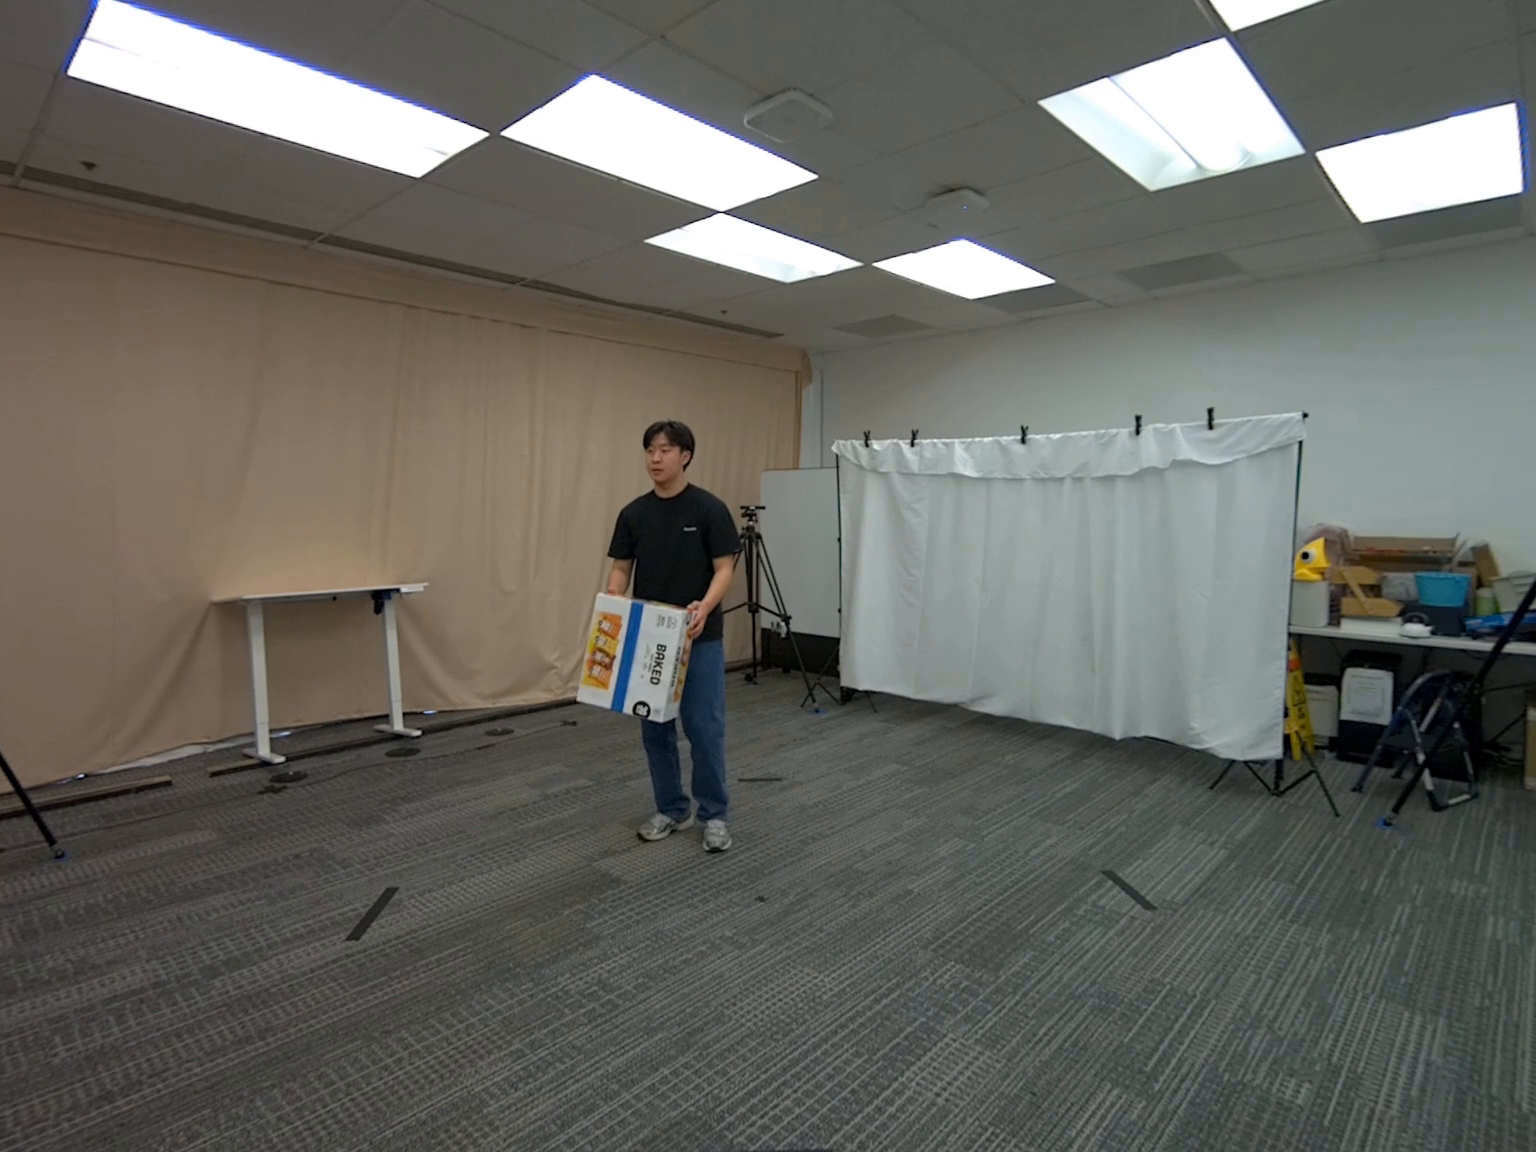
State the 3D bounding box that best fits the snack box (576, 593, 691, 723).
[{"bbox_3d":[-0.481,0.294,3.140,0.346,0.405,0.202,11,0,15],"label":"snack box"}]
